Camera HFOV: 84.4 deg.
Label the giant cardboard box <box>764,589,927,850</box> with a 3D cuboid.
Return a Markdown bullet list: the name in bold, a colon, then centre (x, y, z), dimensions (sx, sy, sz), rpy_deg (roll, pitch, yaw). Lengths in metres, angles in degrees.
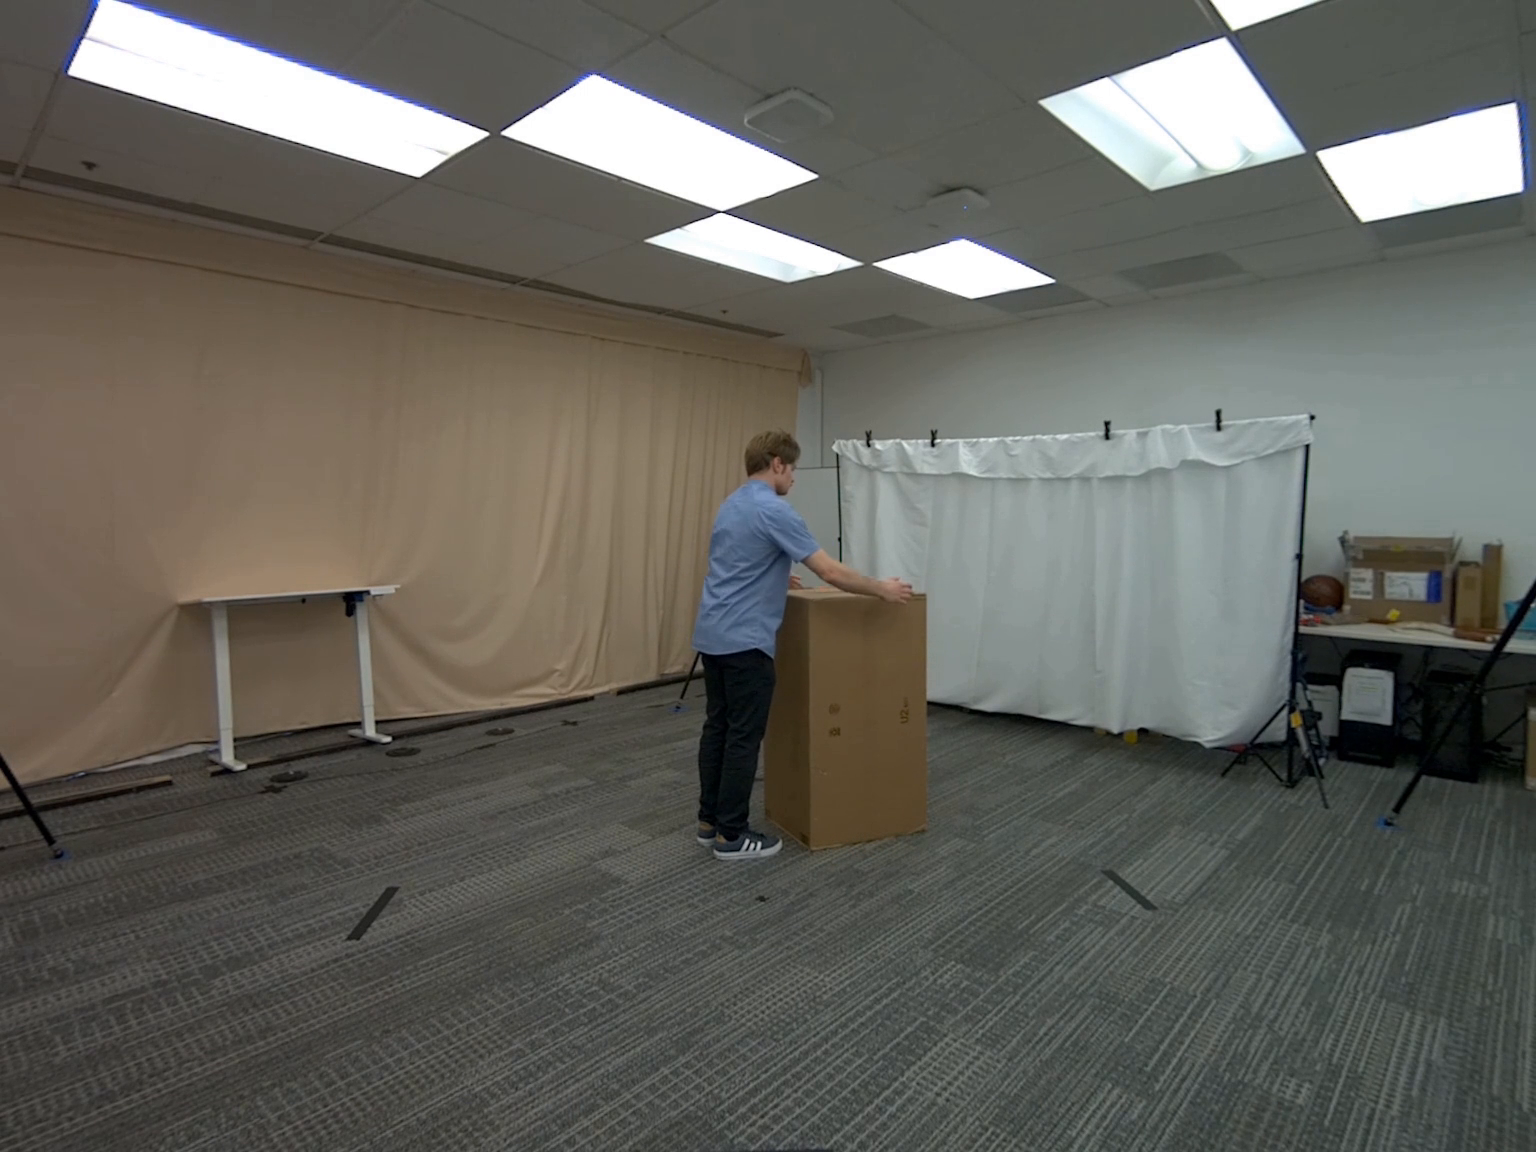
- **giant cardboard box**: centre (0.328, 0.576, 3.671), dimensions (0.564, 1.024, 0.437), rpy_deg (-2, 3, -24)
